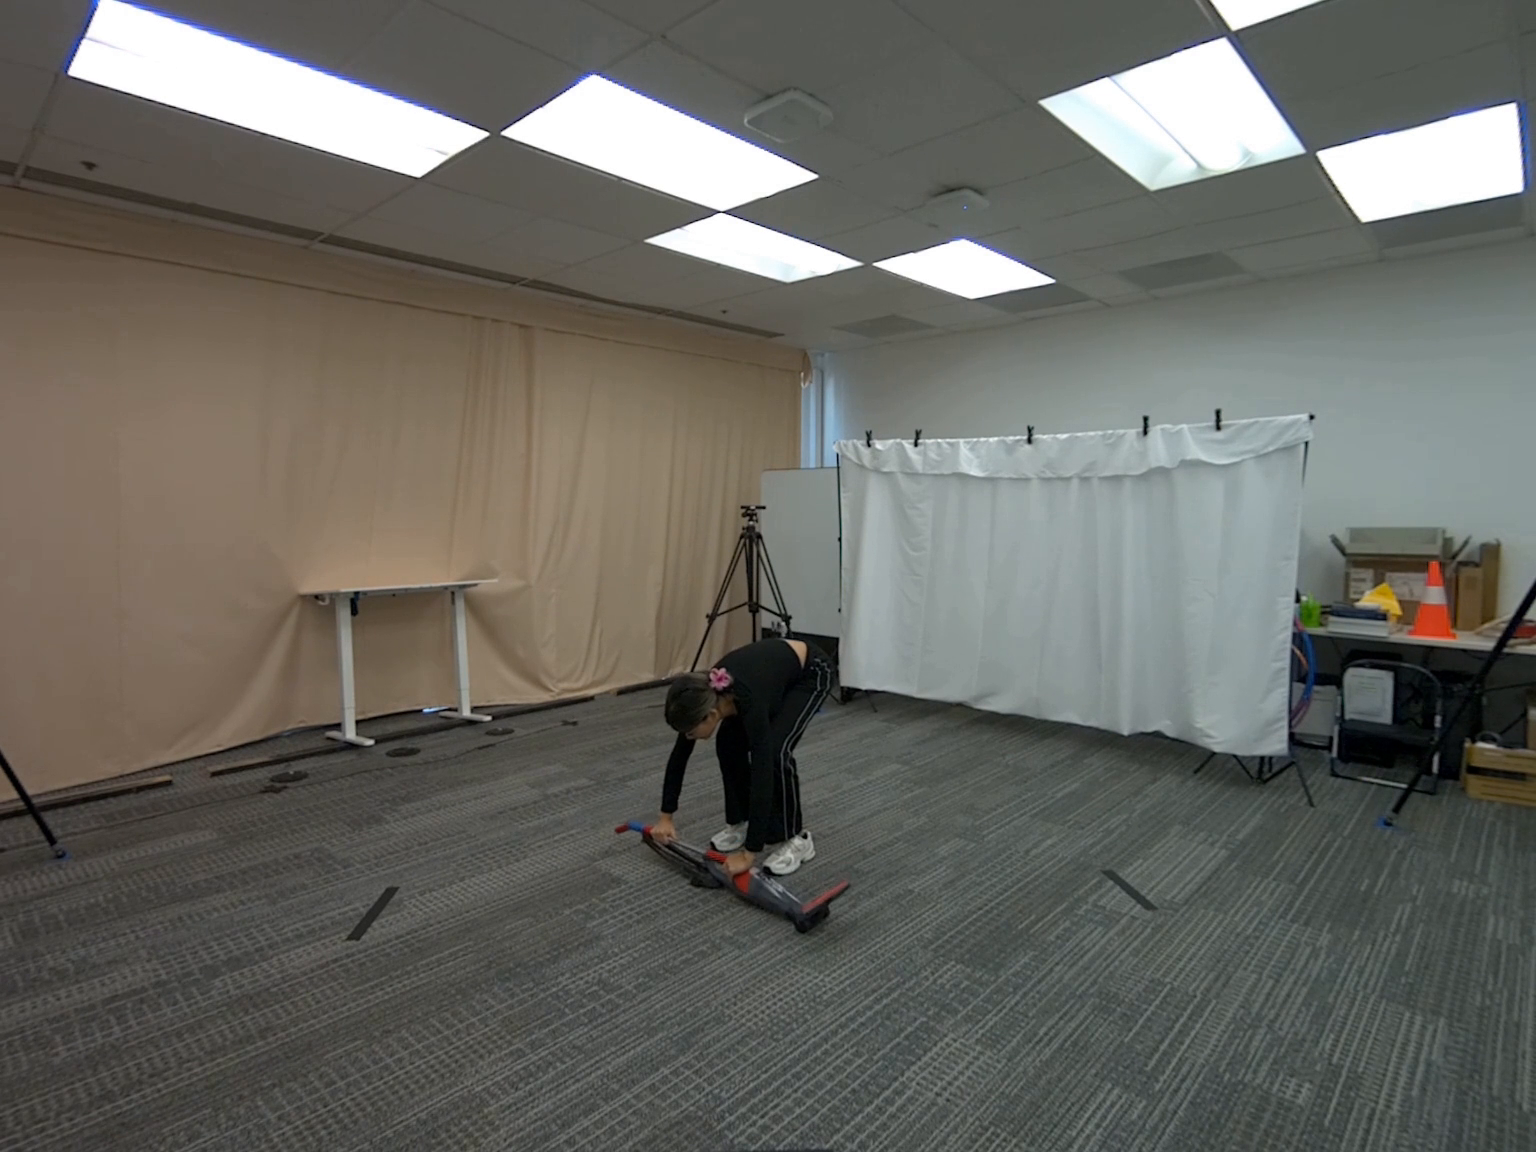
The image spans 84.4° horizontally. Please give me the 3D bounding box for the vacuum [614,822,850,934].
[{"bbox_3d":[-0.224,1.069,3.107,1.084,0.143,0.245,3,7,41],"label":"vacuum"}]
